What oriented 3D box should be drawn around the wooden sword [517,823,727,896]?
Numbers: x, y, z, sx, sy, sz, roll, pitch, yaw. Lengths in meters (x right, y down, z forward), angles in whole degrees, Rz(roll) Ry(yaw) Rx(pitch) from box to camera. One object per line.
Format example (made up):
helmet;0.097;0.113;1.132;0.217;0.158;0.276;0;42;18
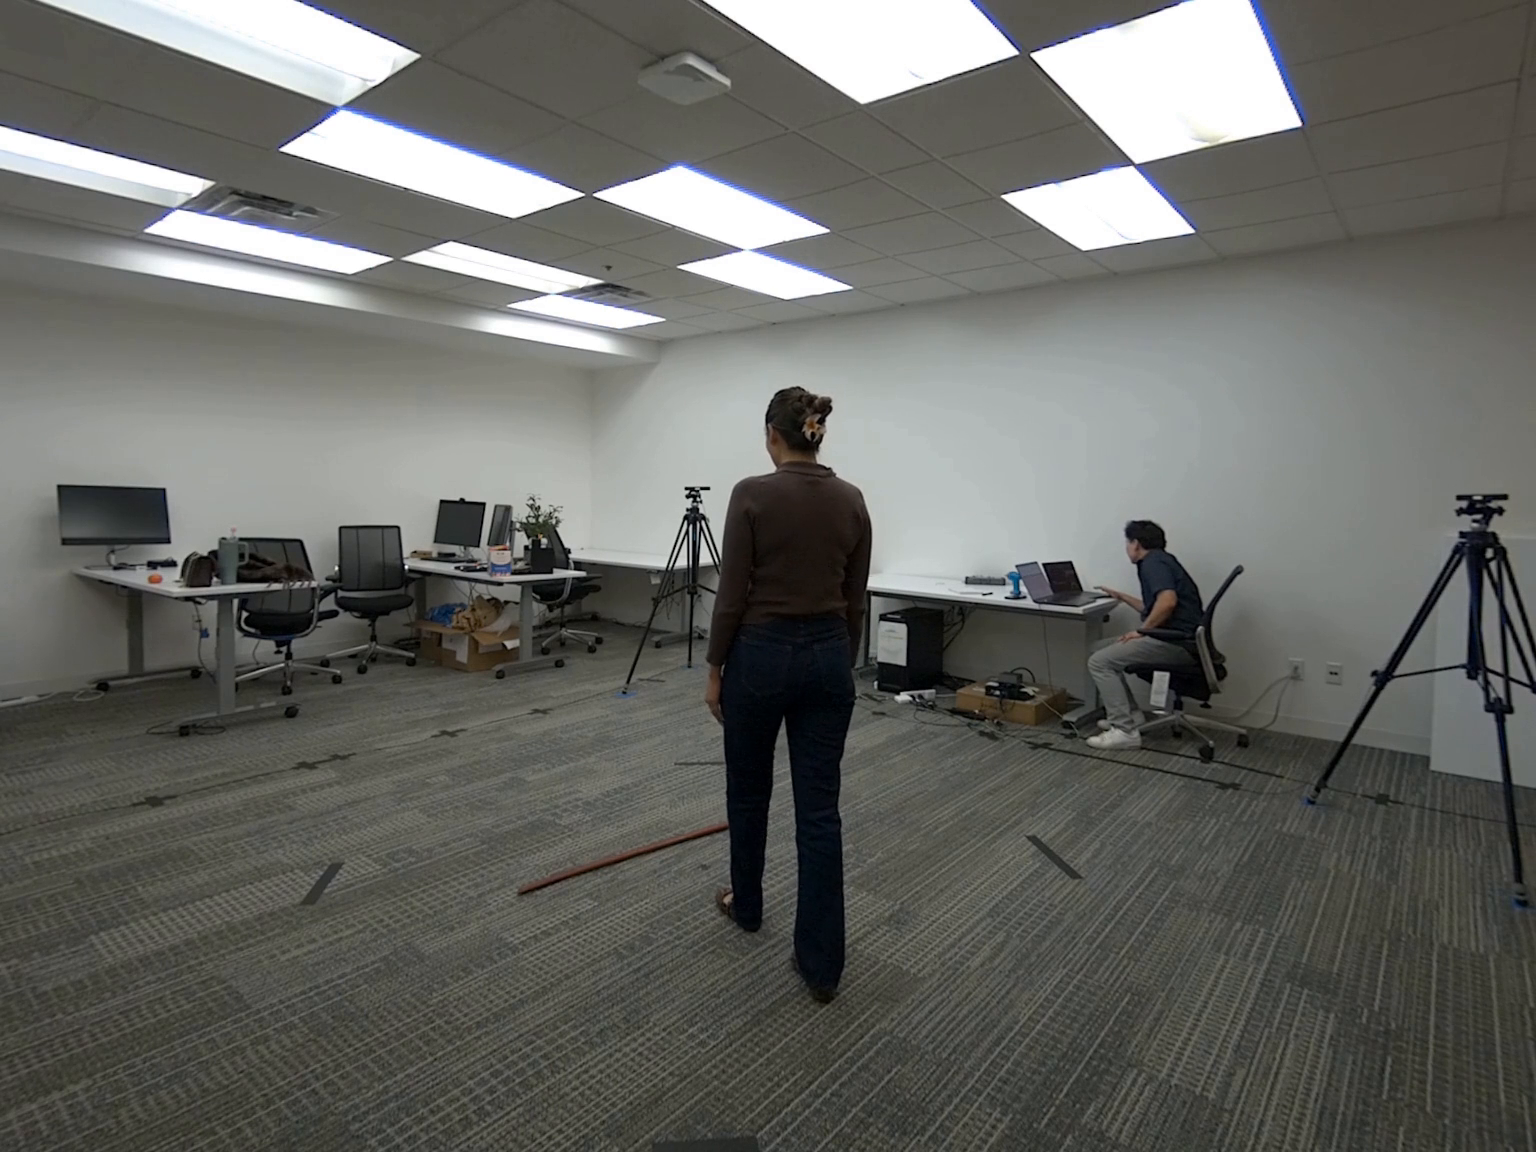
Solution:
wooden sword;-0.481;1.031;3.206;0.995;0.025;0.051;-5;-26;-40
